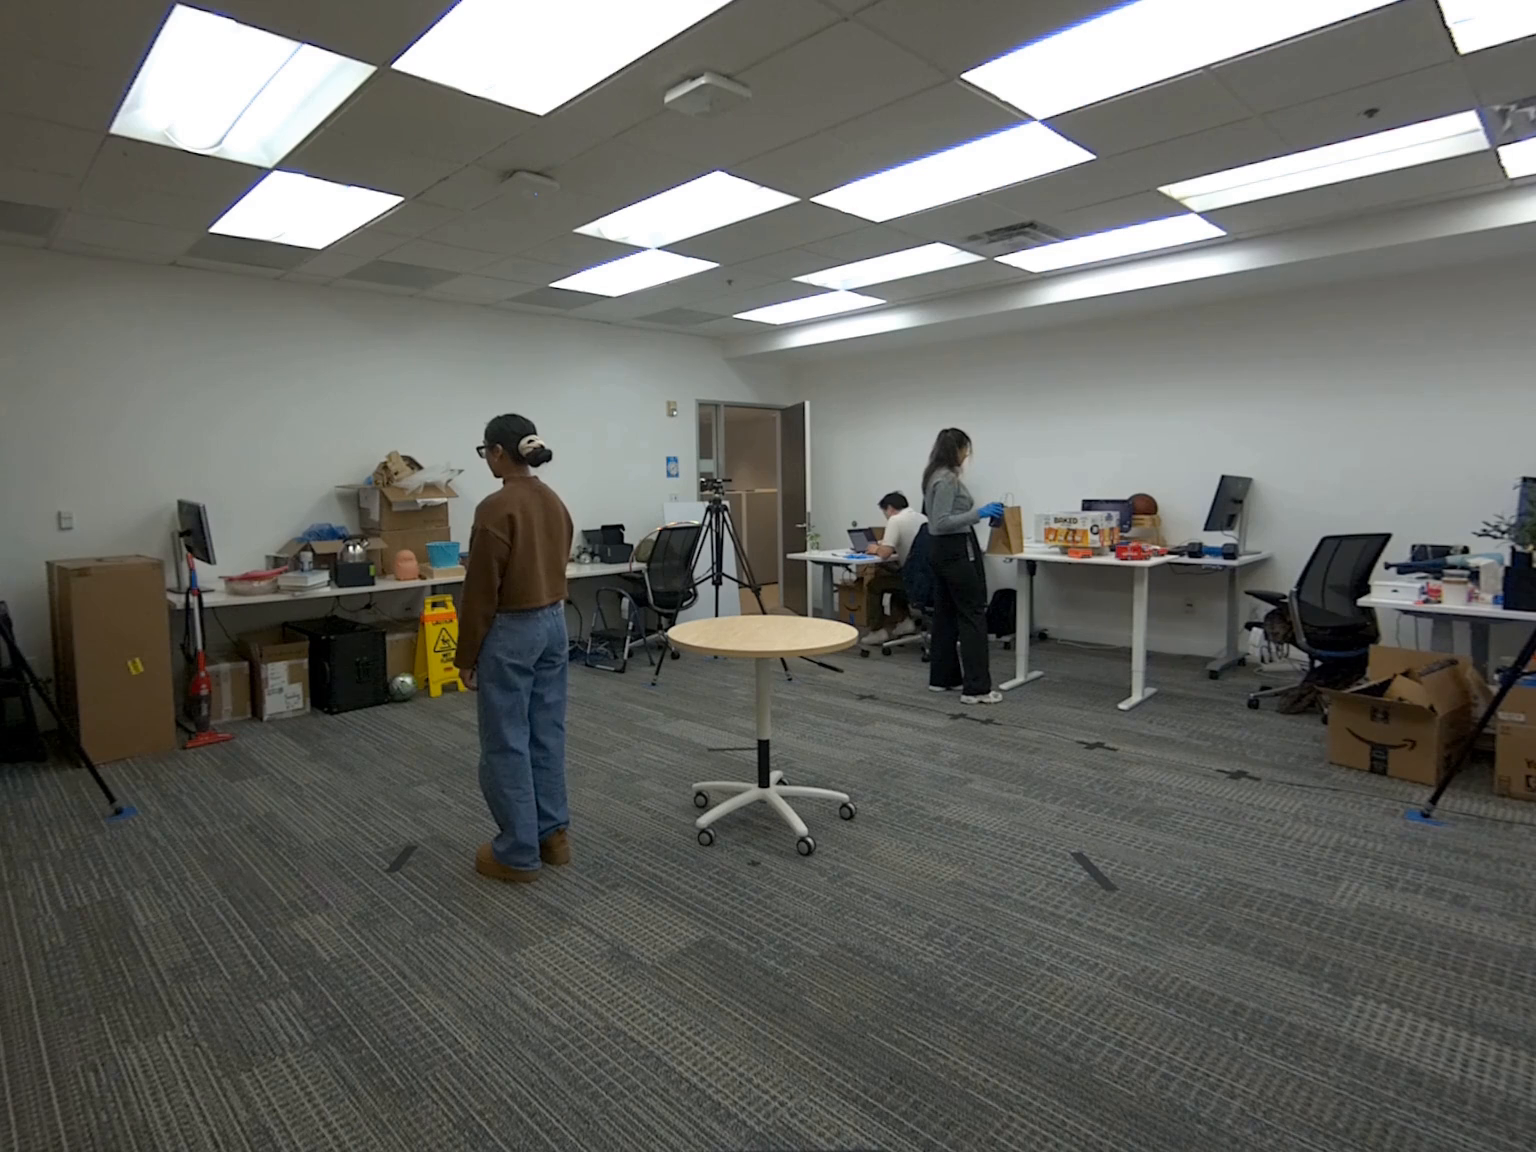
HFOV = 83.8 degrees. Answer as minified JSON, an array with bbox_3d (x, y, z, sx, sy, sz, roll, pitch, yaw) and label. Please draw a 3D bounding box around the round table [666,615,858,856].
[{"bbox_3d":[-0.018,0.613,3.477,0.763,0.791,0.768,-1,5,-2],"label":"round table"}]
